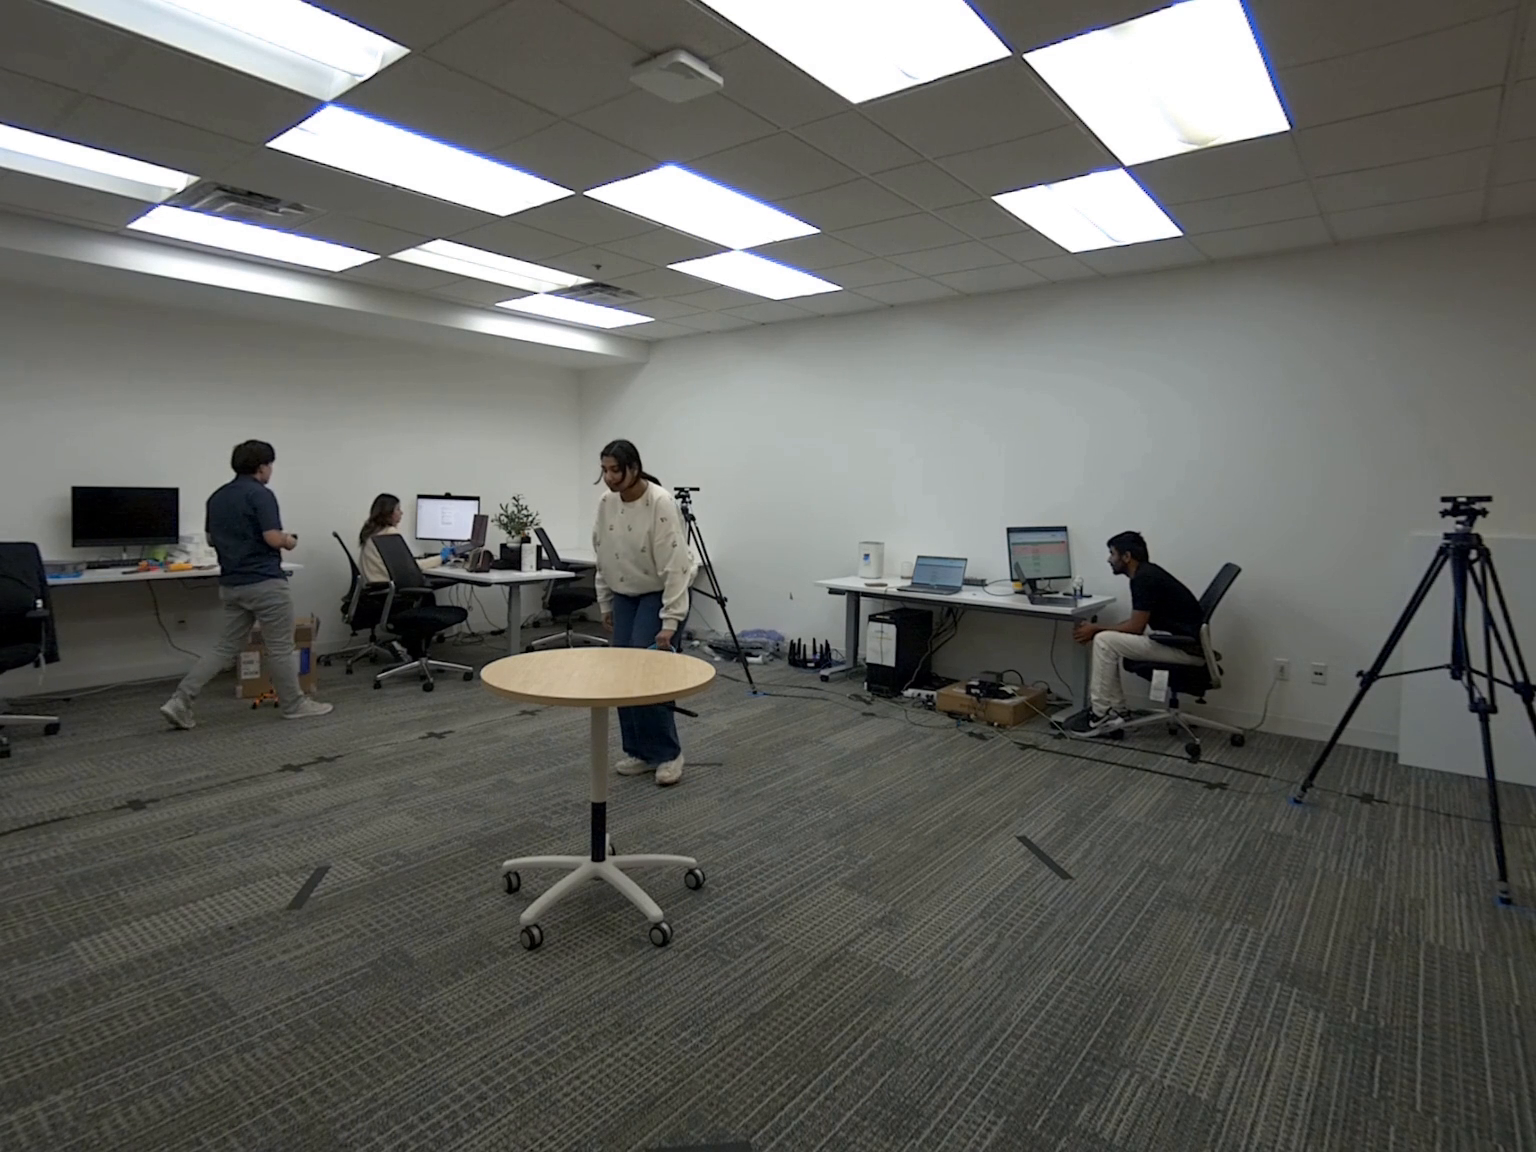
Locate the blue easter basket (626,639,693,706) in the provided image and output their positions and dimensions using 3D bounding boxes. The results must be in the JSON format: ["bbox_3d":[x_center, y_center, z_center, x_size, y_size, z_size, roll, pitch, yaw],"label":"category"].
[{"bbox_3d":[-0.488,0.444,3.800,0.246,0.150,0.251,-18,38,12],"label":"blue easter basket"}]
